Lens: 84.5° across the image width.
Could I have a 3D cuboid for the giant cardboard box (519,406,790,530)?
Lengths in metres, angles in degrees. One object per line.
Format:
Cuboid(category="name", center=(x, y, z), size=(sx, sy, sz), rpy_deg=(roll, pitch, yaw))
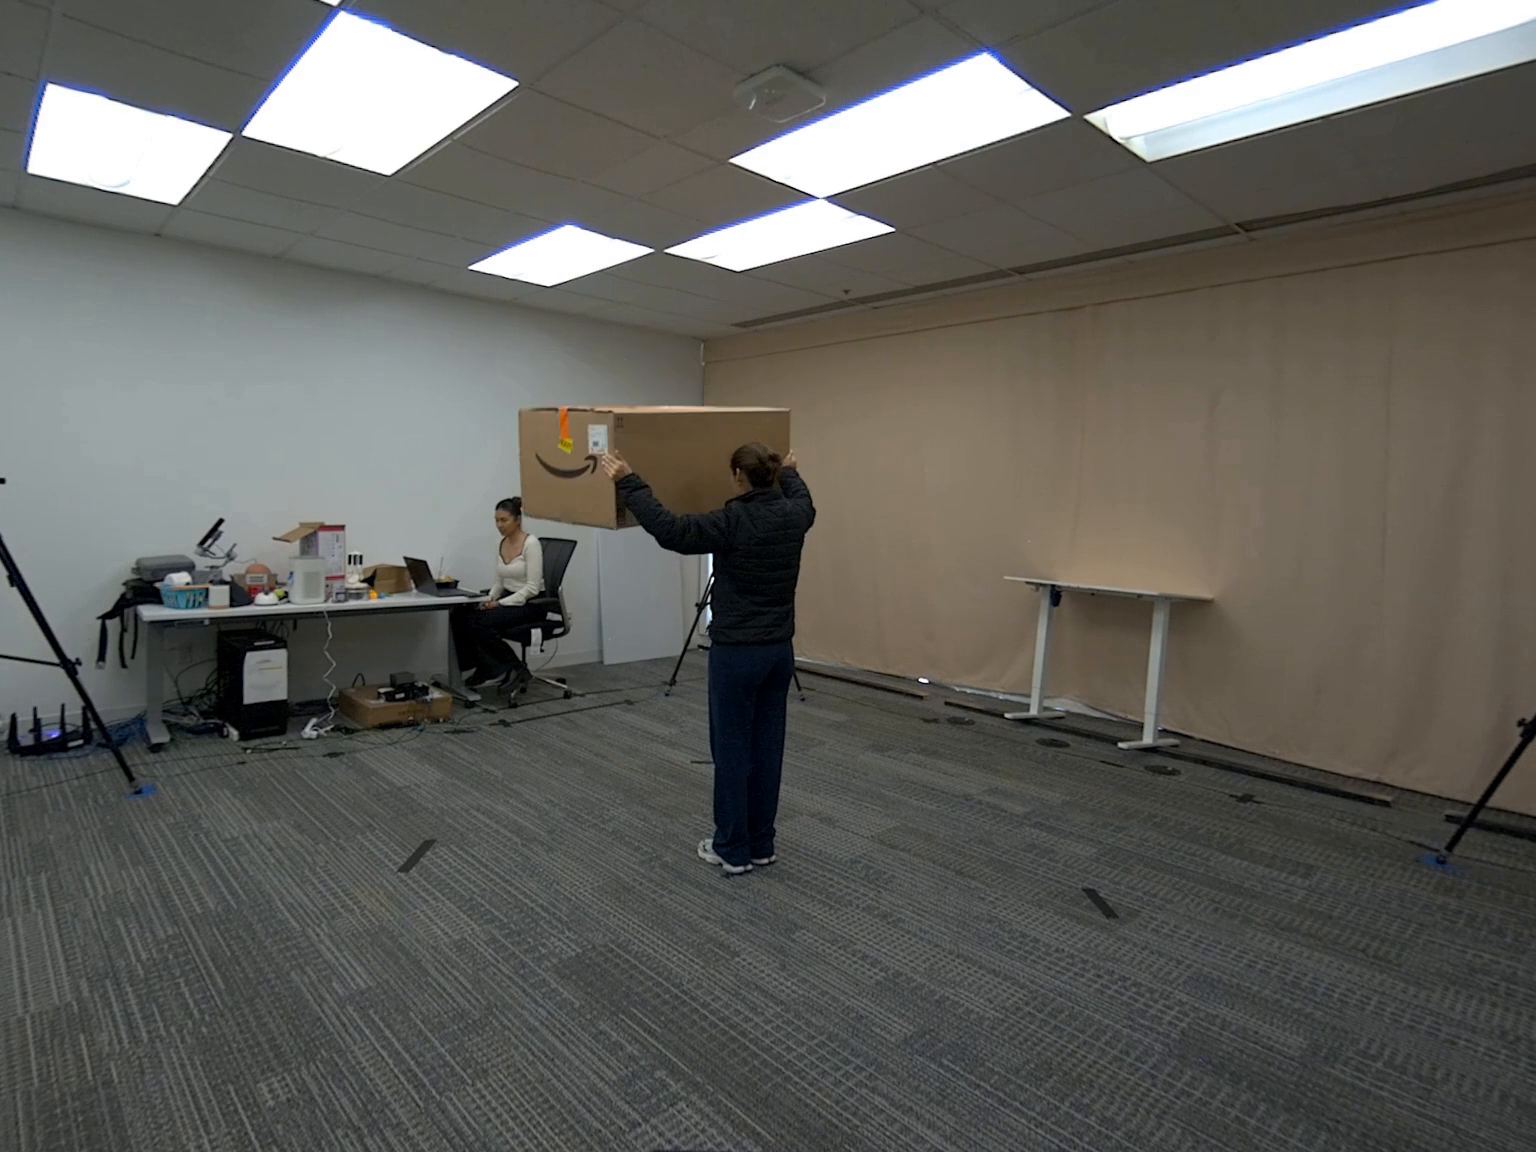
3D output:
Cuboid(category="giant cardboard box", center=(-0.445, -0.467, 3.528), size=(0.600, 0.443, 1.008), rpy_deg=(11, 15, 39))
